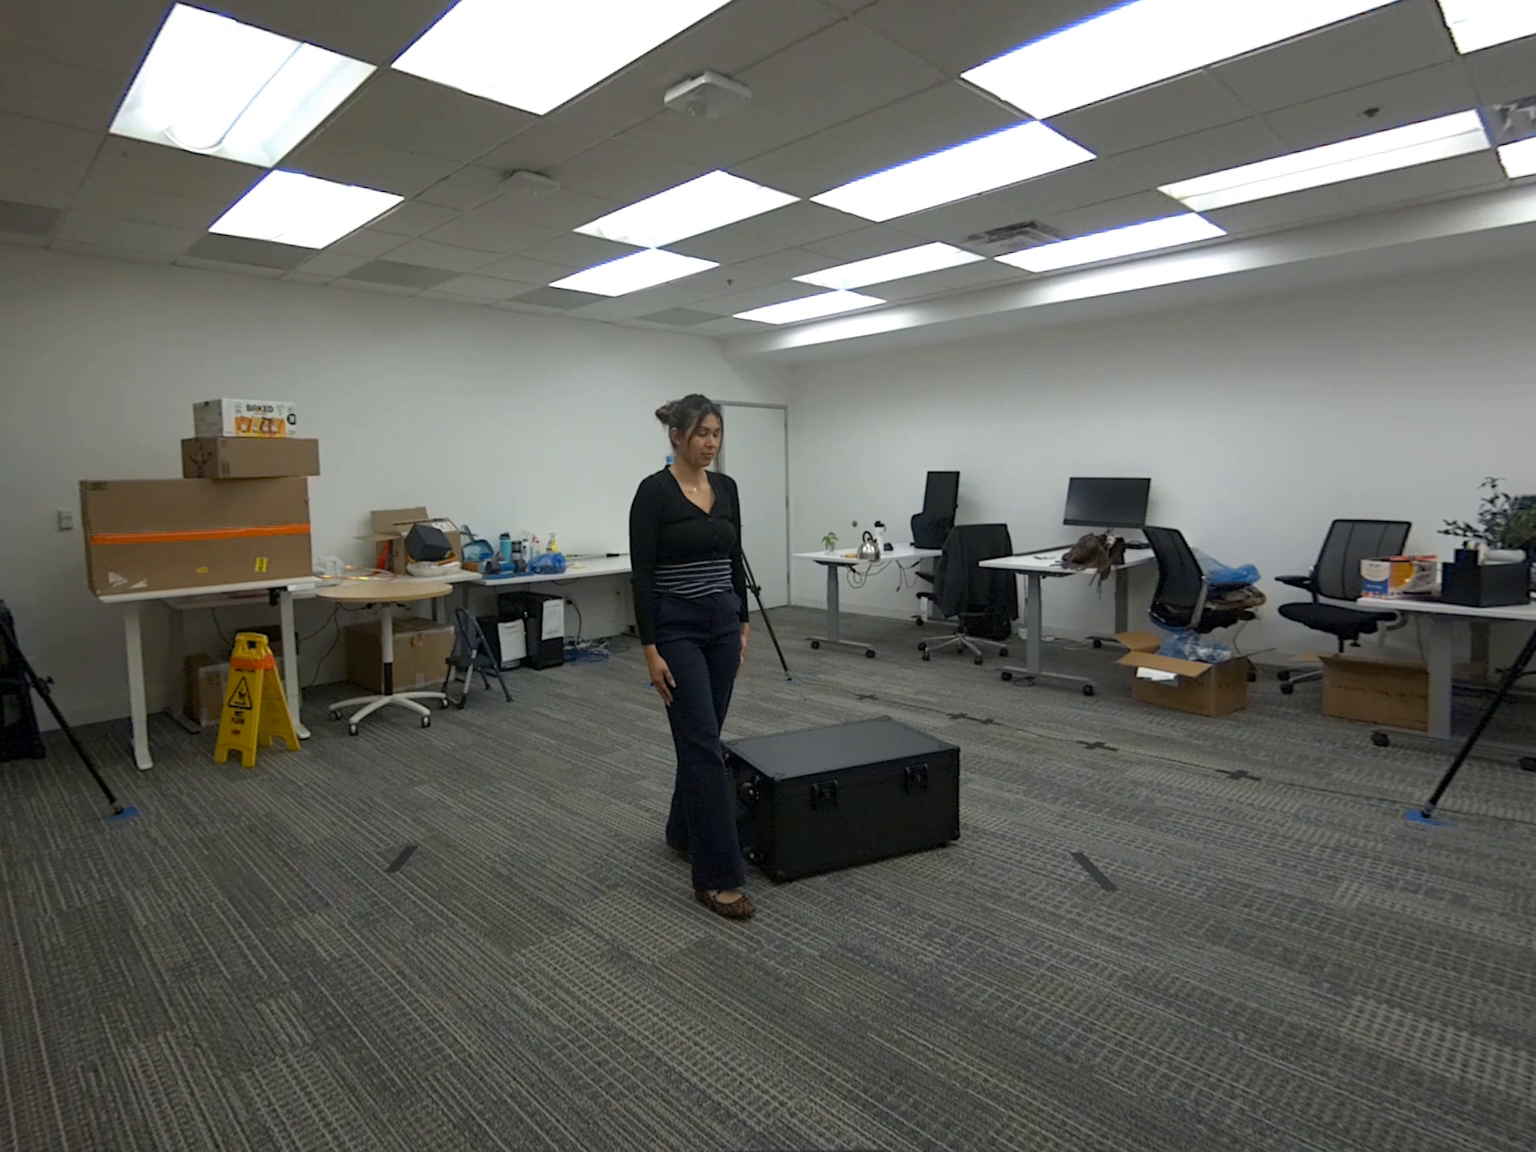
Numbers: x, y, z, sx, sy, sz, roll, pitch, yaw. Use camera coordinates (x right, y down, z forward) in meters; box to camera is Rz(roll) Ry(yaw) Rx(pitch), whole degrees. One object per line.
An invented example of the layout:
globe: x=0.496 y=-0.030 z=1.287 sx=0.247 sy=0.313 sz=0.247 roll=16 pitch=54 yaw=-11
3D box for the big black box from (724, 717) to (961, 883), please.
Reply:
big black box: x=0.291 y=0.829 z=3.290 sx=0.844 sy=0.394 sz=0.534 roll=-5 pitch=7 yaw=-24
